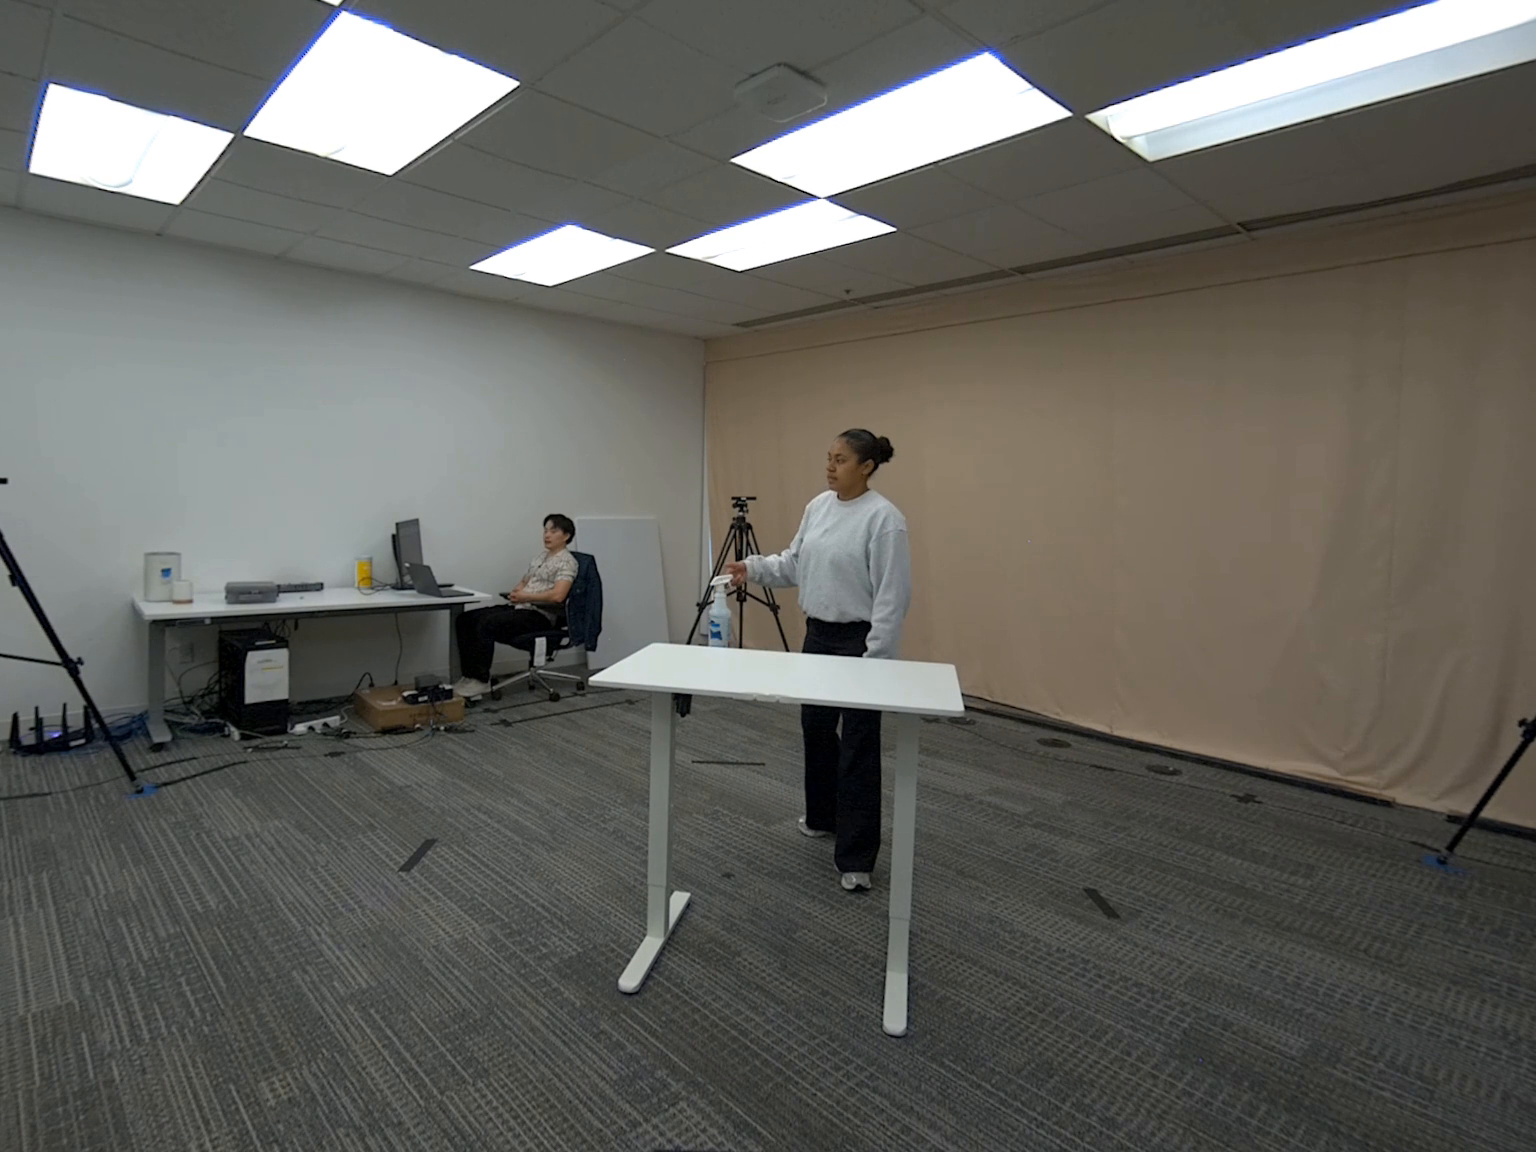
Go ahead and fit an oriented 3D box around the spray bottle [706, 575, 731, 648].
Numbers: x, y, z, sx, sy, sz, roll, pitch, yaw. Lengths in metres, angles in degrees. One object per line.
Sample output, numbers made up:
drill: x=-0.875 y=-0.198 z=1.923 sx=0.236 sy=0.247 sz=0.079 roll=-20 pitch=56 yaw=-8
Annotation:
spray bottle: x=-0.177 y=0.148 z=3.204 sx=0.090 sy=0.296 sz=0.088 roll=3 pitch=7 yaw=-4
